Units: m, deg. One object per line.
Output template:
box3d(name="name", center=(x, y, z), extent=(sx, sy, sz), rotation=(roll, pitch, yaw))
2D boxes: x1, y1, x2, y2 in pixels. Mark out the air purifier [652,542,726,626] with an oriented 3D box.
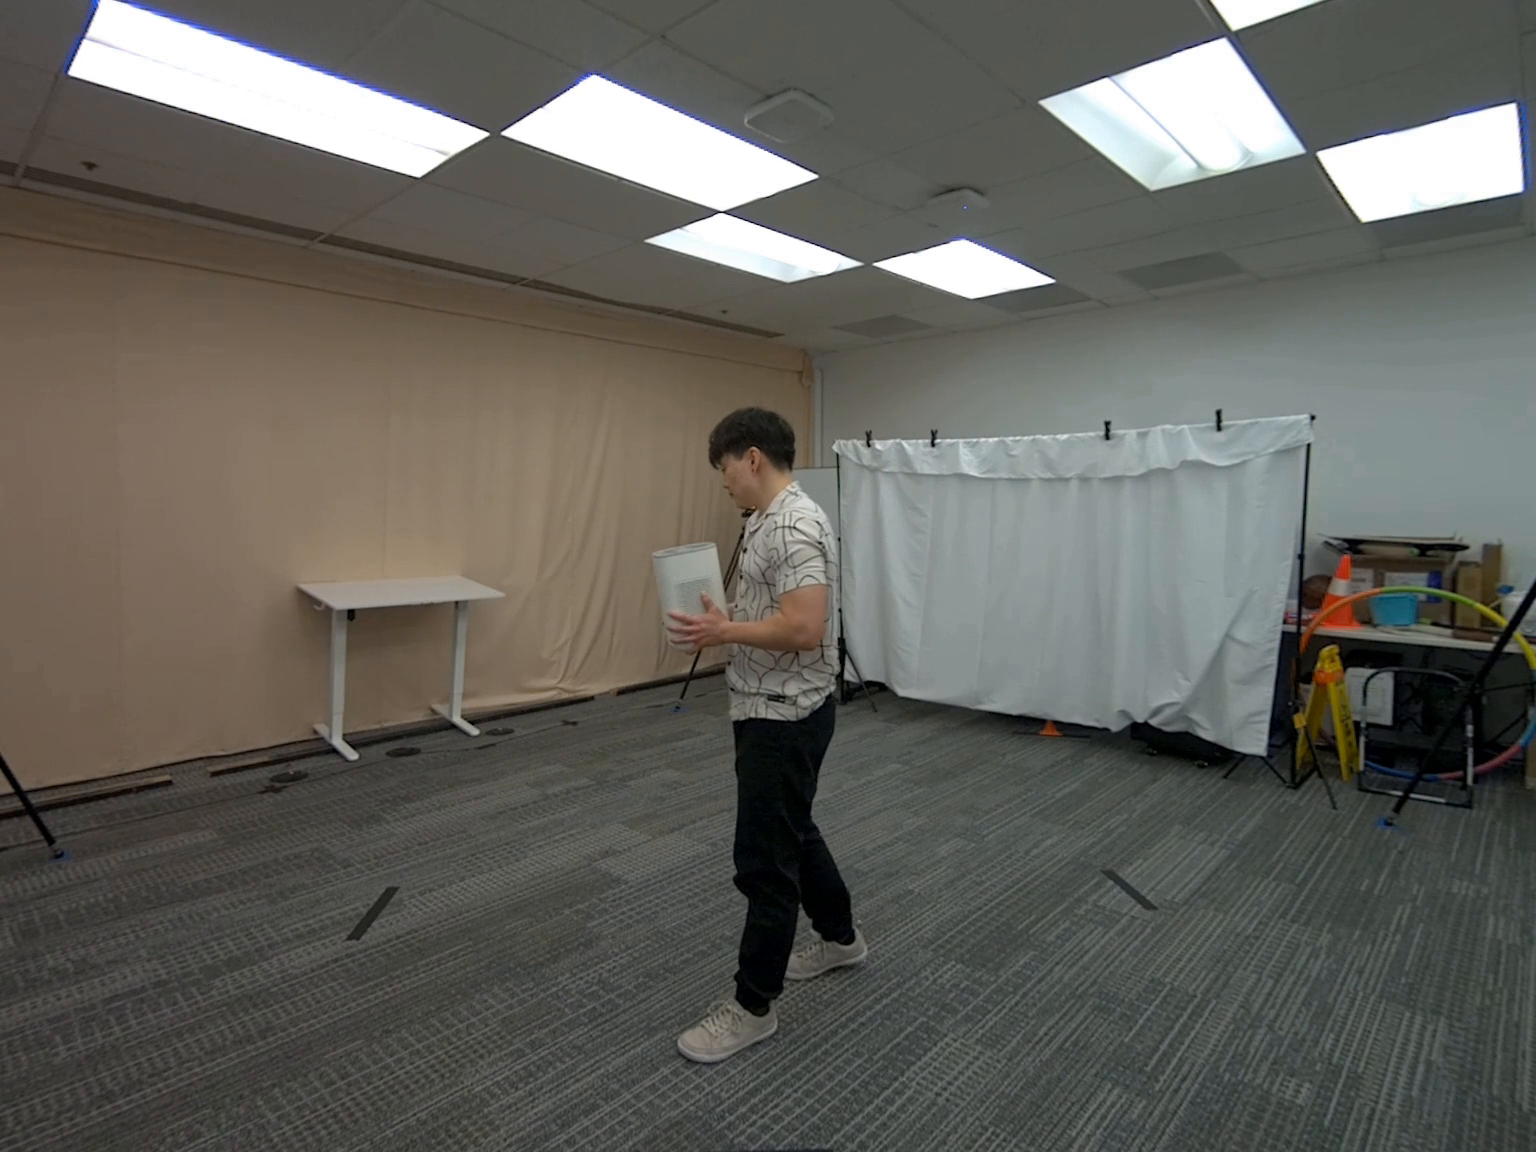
box3d(name="air purifier", center=(-0.200, 0.055, 2.243), extent=(0.169, 0.264, 0.174), rotation=(-10, 4, -10))
